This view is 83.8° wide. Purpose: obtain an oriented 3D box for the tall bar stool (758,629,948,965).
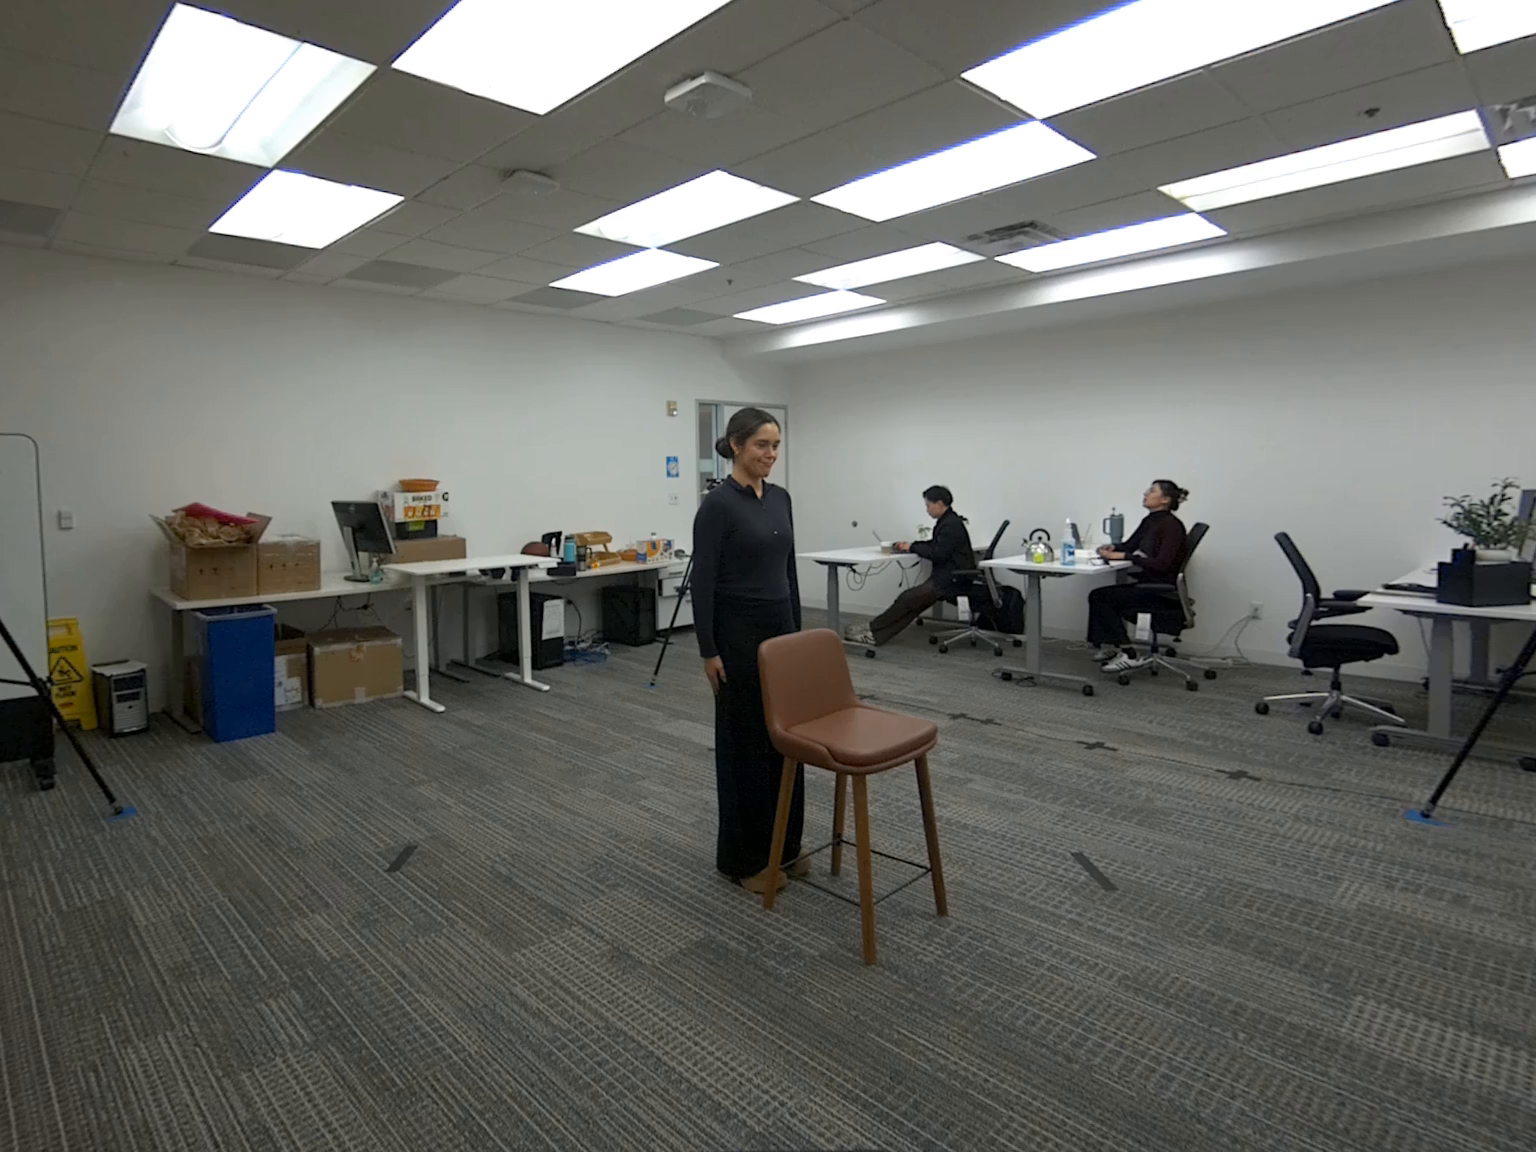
[{"bbox_3d":[0.260,0.643,2.722,0.444,0.888,0.481,-5,3,-44],"label":"tall bar stool"}]
